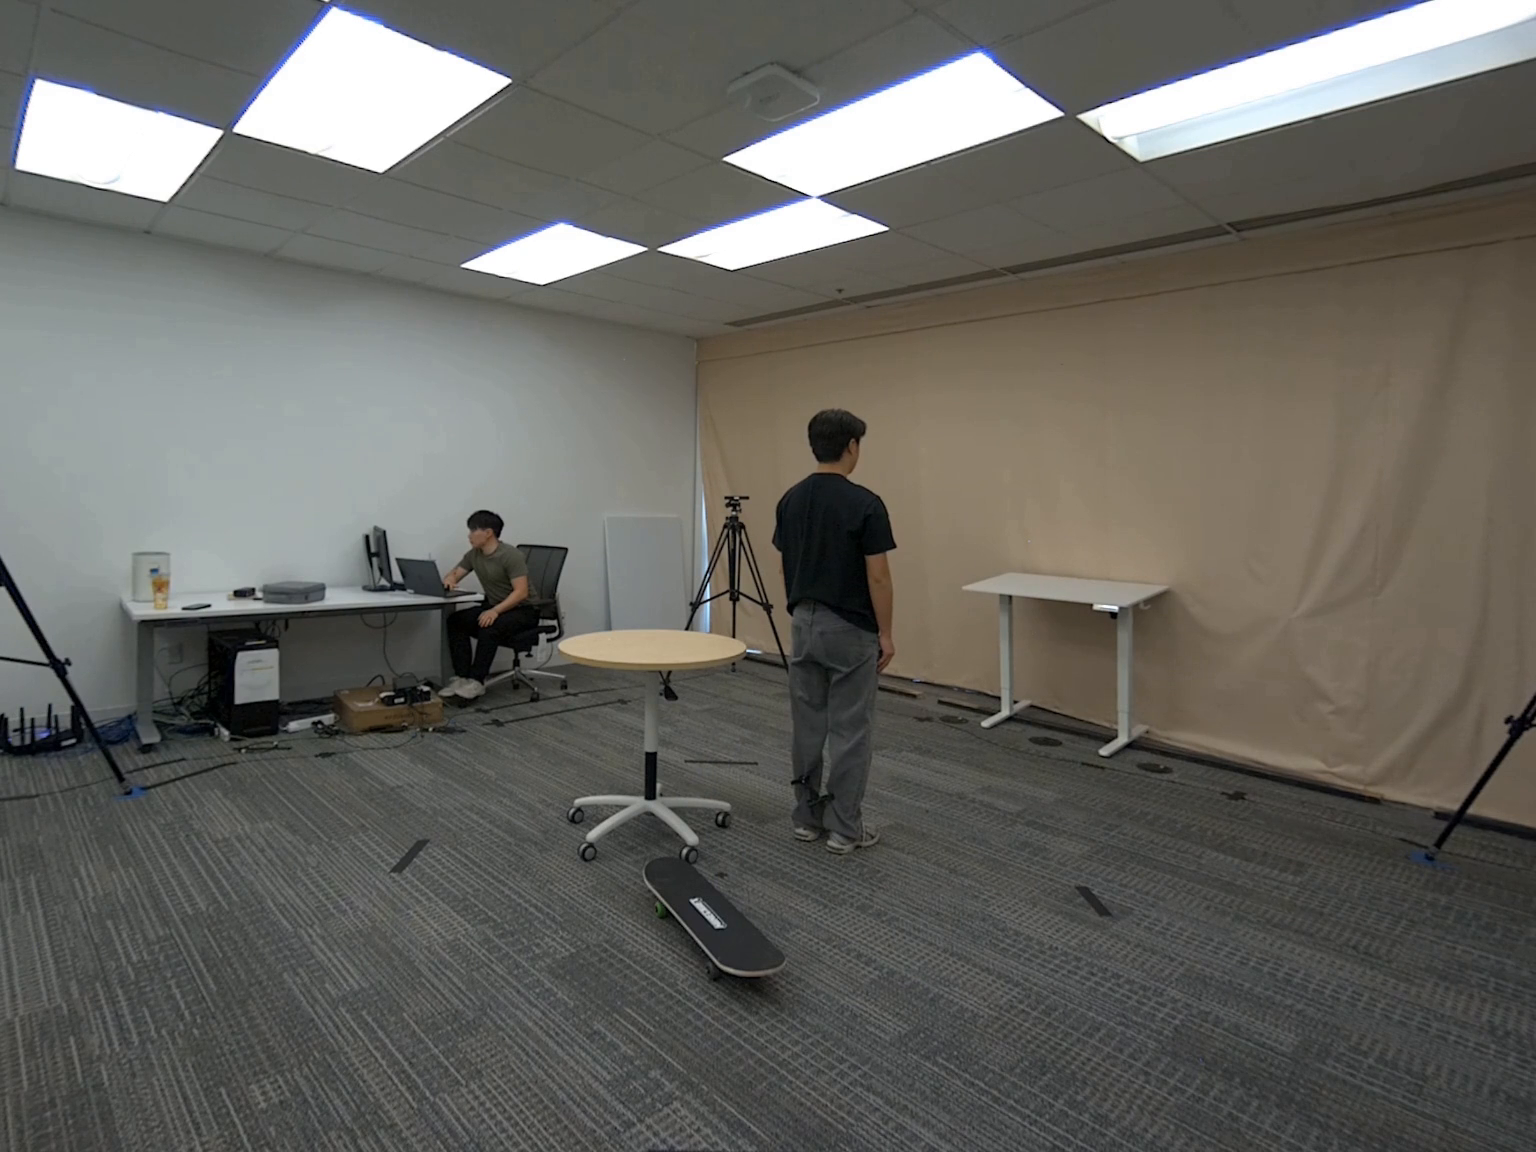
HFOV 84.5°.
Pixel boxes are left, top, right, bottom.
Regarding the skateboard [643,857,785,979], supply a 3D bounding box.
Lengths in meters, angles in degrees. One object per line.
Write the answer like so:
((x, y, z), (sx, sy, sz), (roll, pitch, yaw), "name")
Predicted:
((-0.194, 1.089, 2.640), (0.190, 0.110, 0.803), (-2, 6, -28), "skateboard")
